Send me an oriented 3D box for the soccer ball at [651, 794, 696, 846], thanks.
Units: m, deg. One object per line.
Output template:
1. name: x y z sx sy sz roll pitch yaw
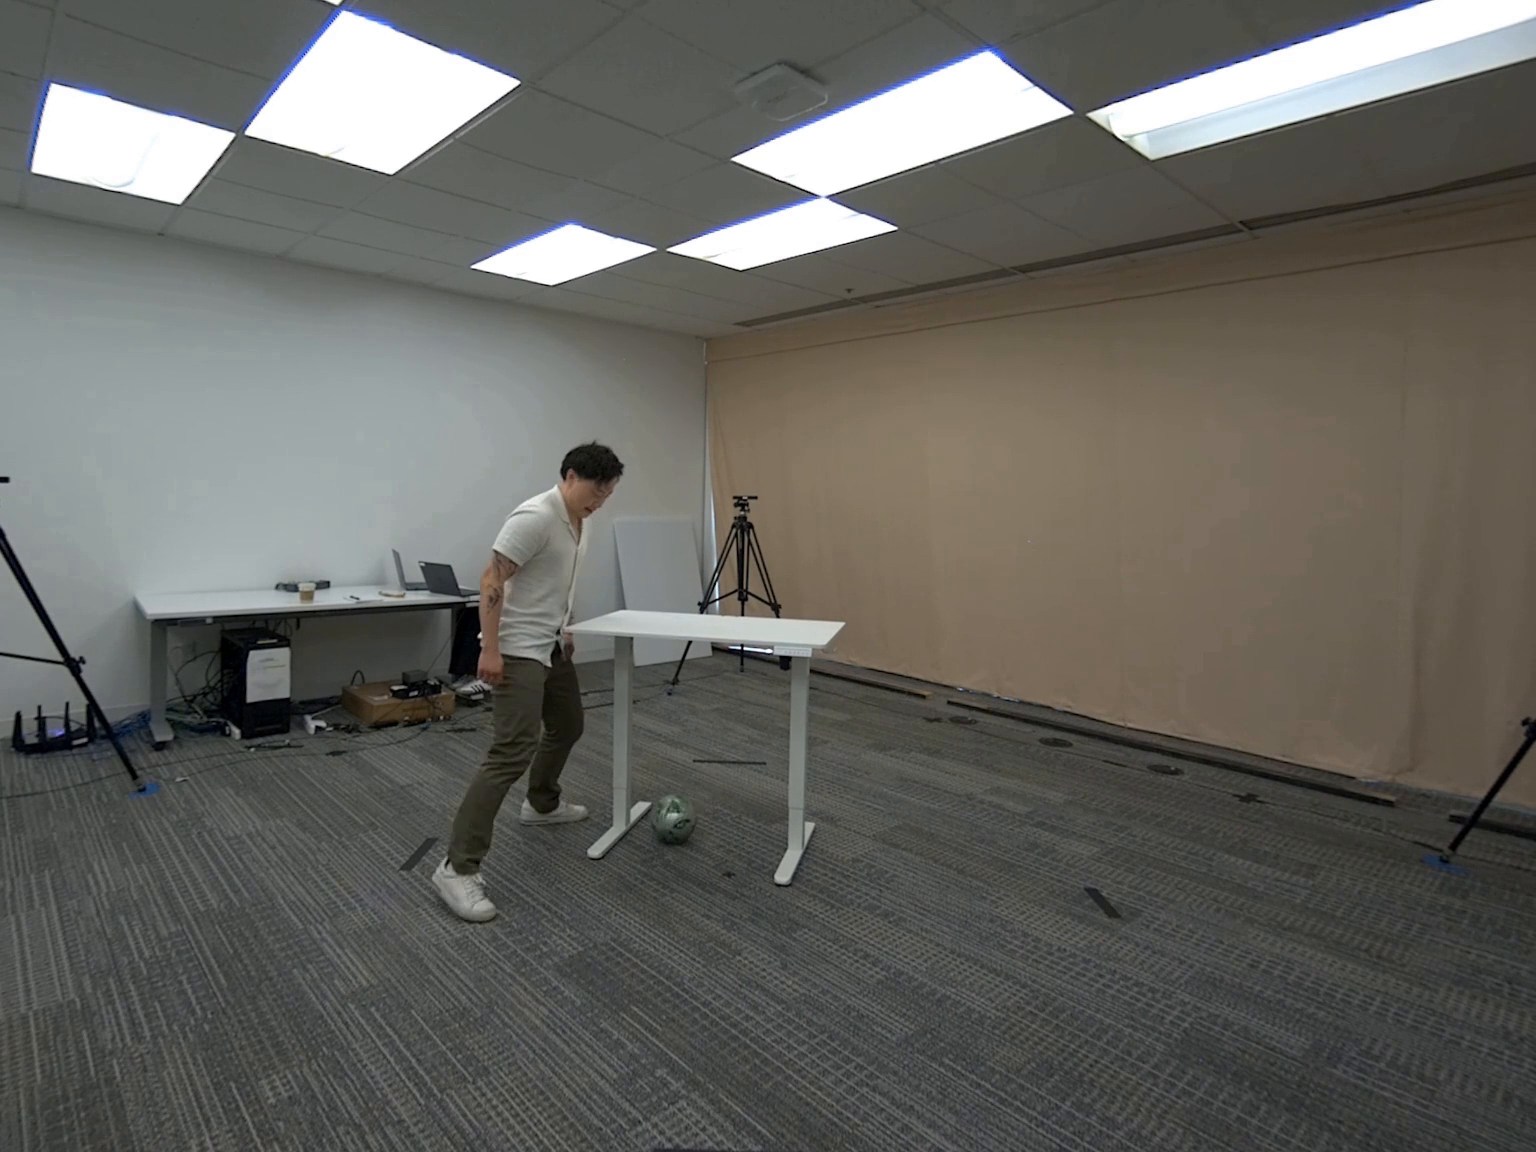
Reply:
1. soccer ball: -0.393 0.974 3.388 0.187 0.187 0.188 1 4 -1
